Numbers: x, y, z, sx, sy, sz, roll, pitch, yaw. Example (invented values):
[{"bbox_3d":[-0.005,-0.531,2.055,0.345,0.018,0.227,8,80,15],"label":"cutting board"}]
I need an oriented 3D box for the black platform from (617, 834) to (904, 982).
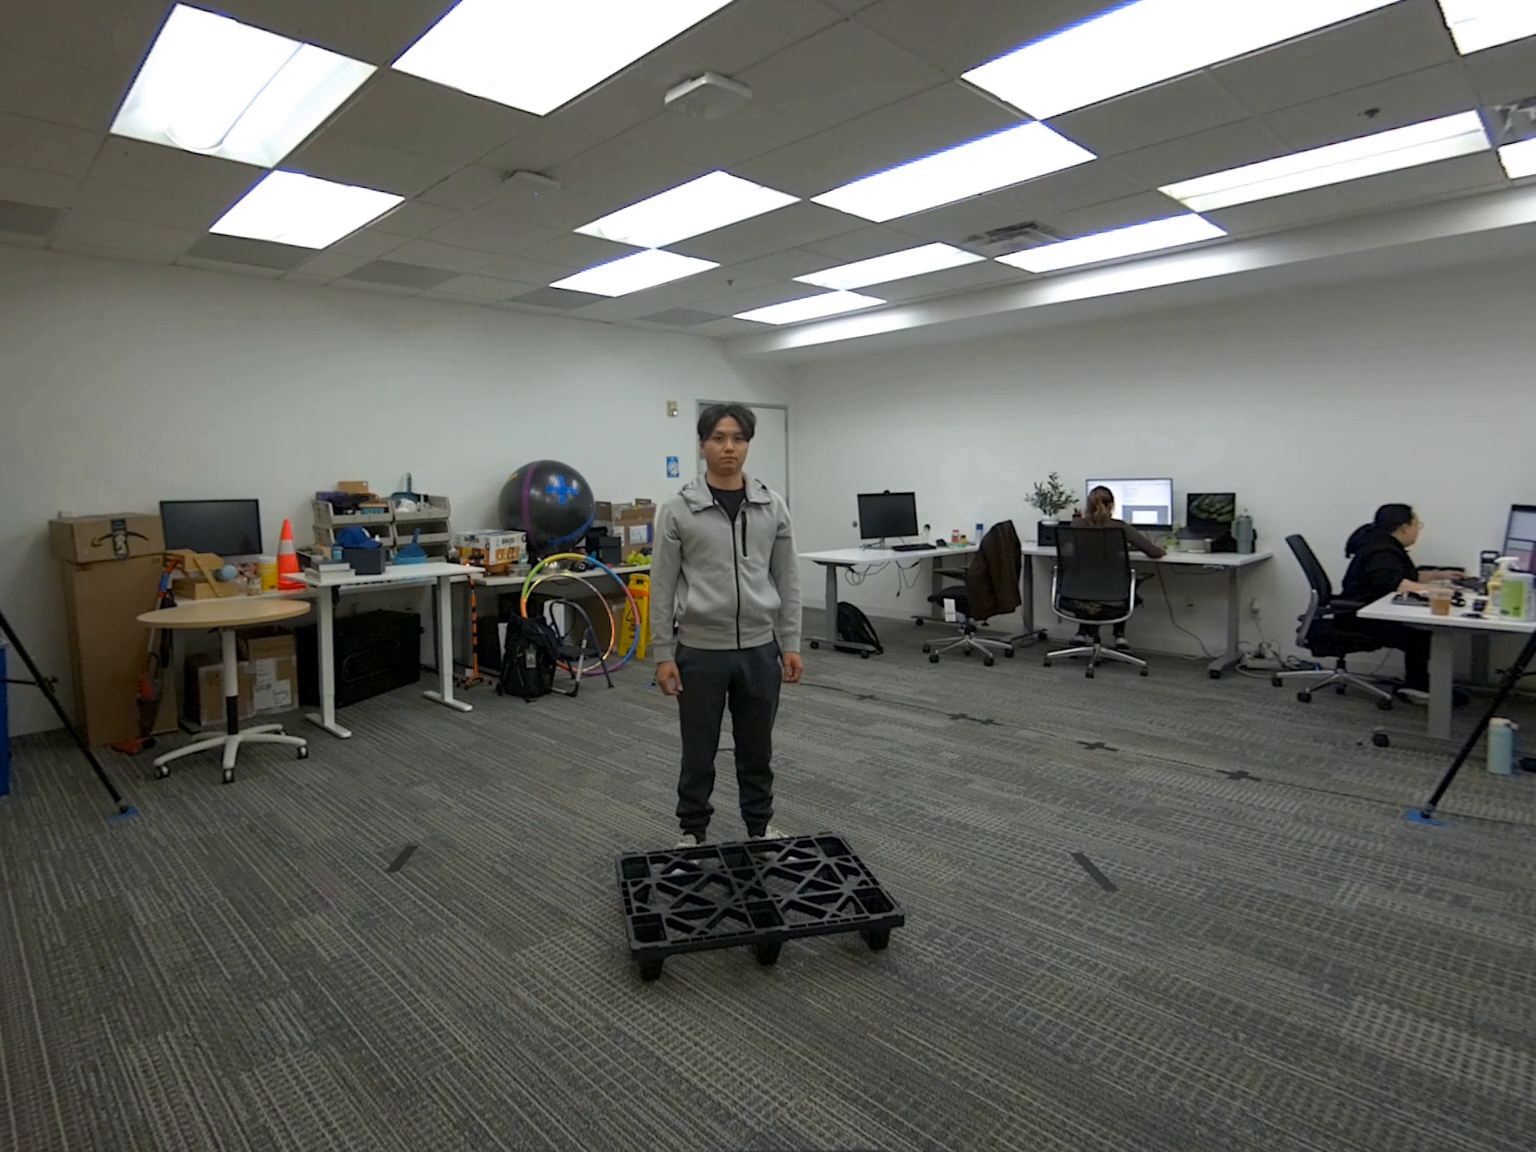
[{"bbox_3d":[-0.054,1.026,2.682,0.797,0.142,0.615,-3,7,-12],"label":"black platform"}]
